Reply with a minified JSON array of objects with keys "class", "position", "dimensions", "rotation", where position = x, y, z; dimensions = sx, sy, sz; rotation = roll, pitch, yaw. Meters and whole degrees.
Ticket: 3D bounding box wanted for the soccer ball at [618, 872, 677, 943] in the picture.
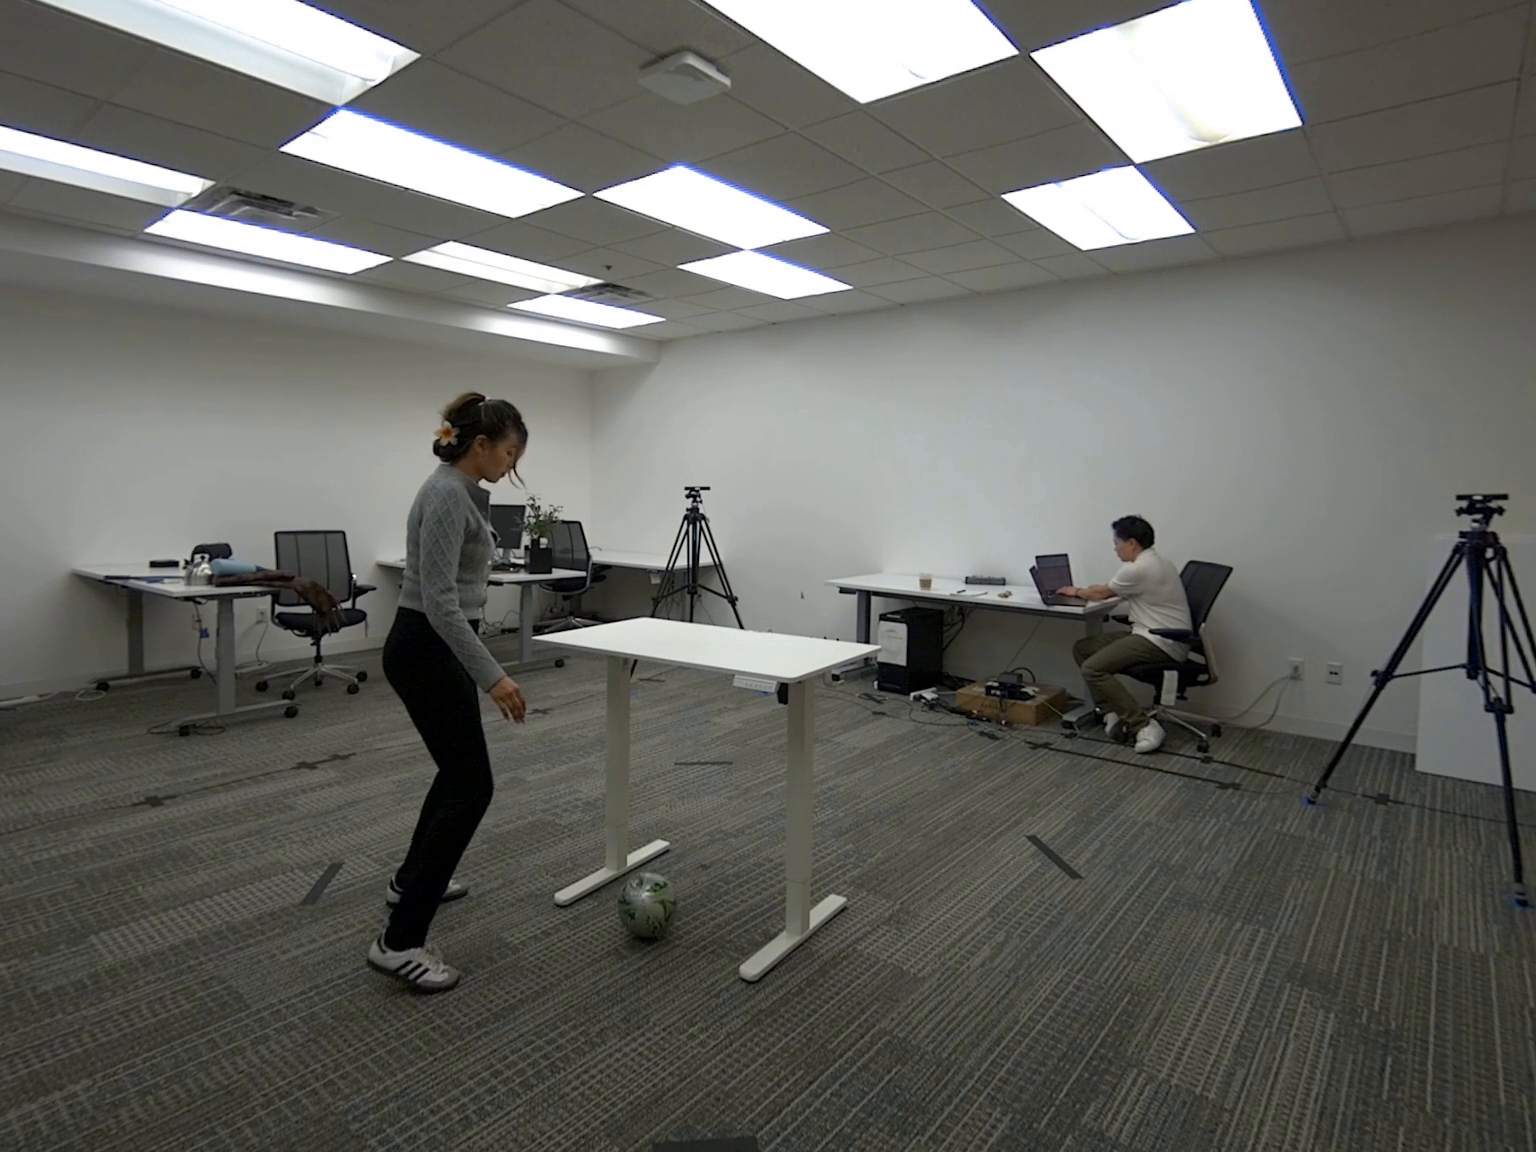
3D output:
[{"class":"soccer ball","position":[-0.378,1.019,2.625],"dimensions":[0.187,0.187,0.188],"rotation":[0,4,-2]}]
